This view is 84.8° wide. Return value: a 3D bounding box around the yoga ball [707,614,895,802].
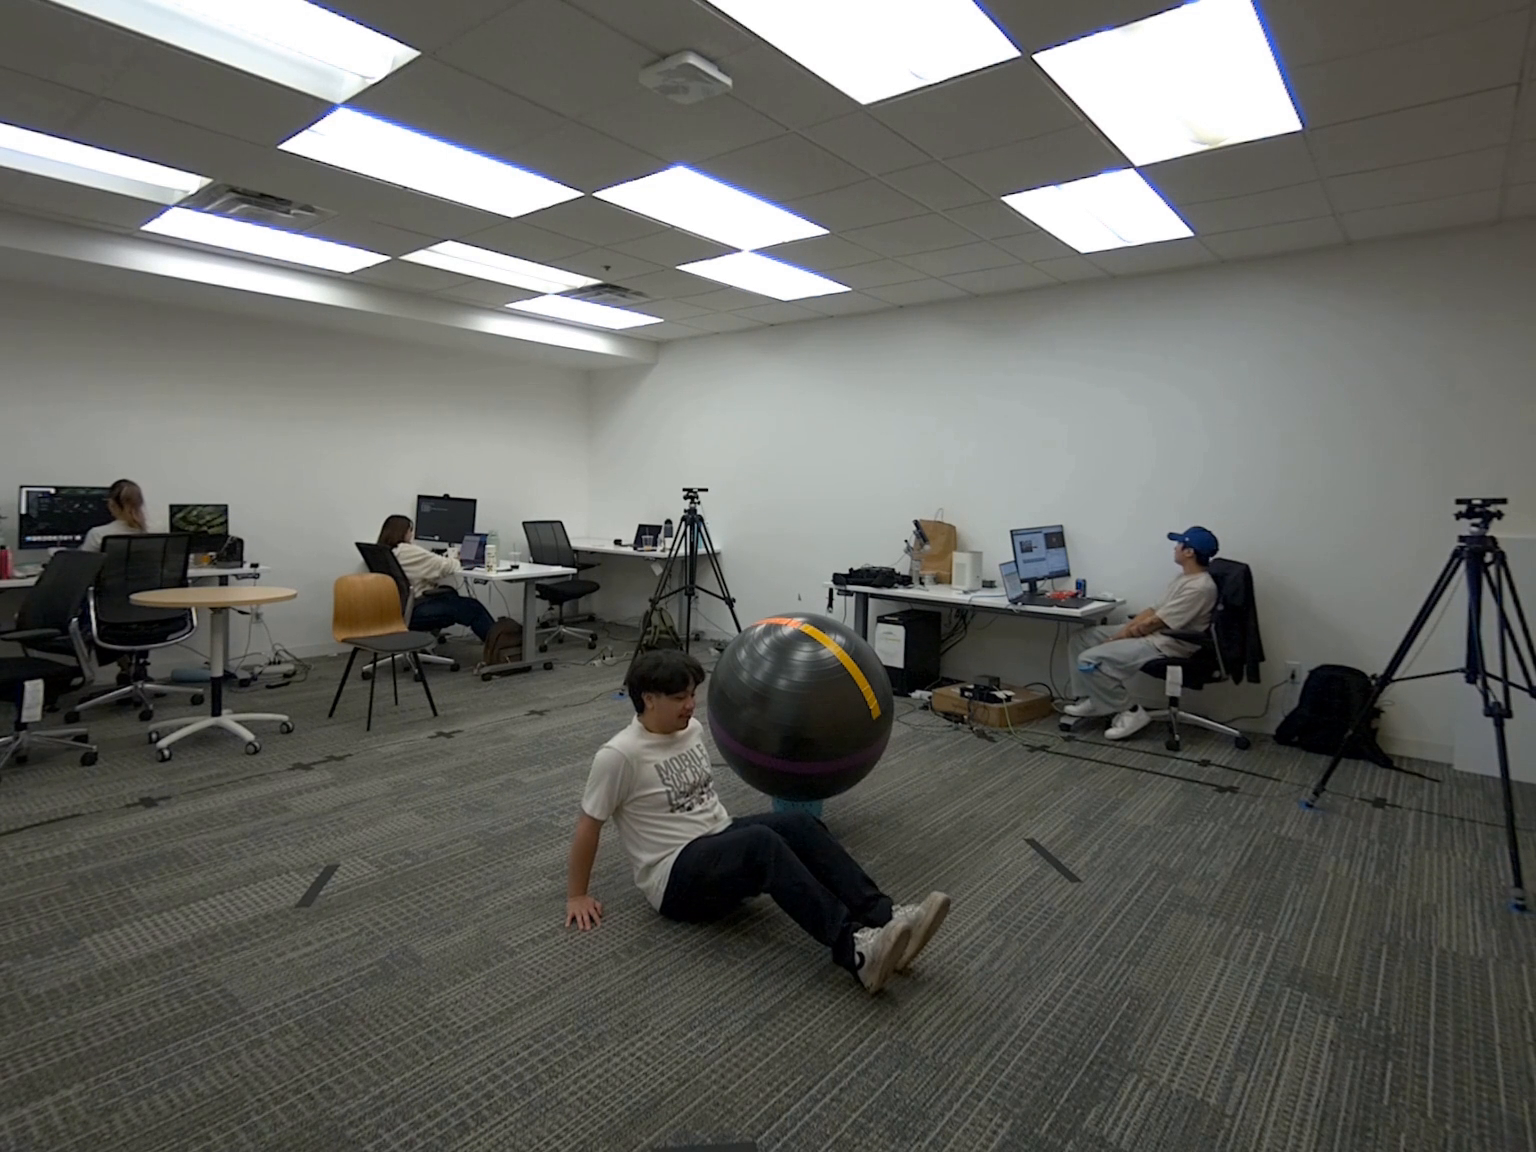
[{"bbox_3d":[0.133,0.529,3.488,0.757,0.756,0.761,1,4,-2],"label":"yoga ball"}]
